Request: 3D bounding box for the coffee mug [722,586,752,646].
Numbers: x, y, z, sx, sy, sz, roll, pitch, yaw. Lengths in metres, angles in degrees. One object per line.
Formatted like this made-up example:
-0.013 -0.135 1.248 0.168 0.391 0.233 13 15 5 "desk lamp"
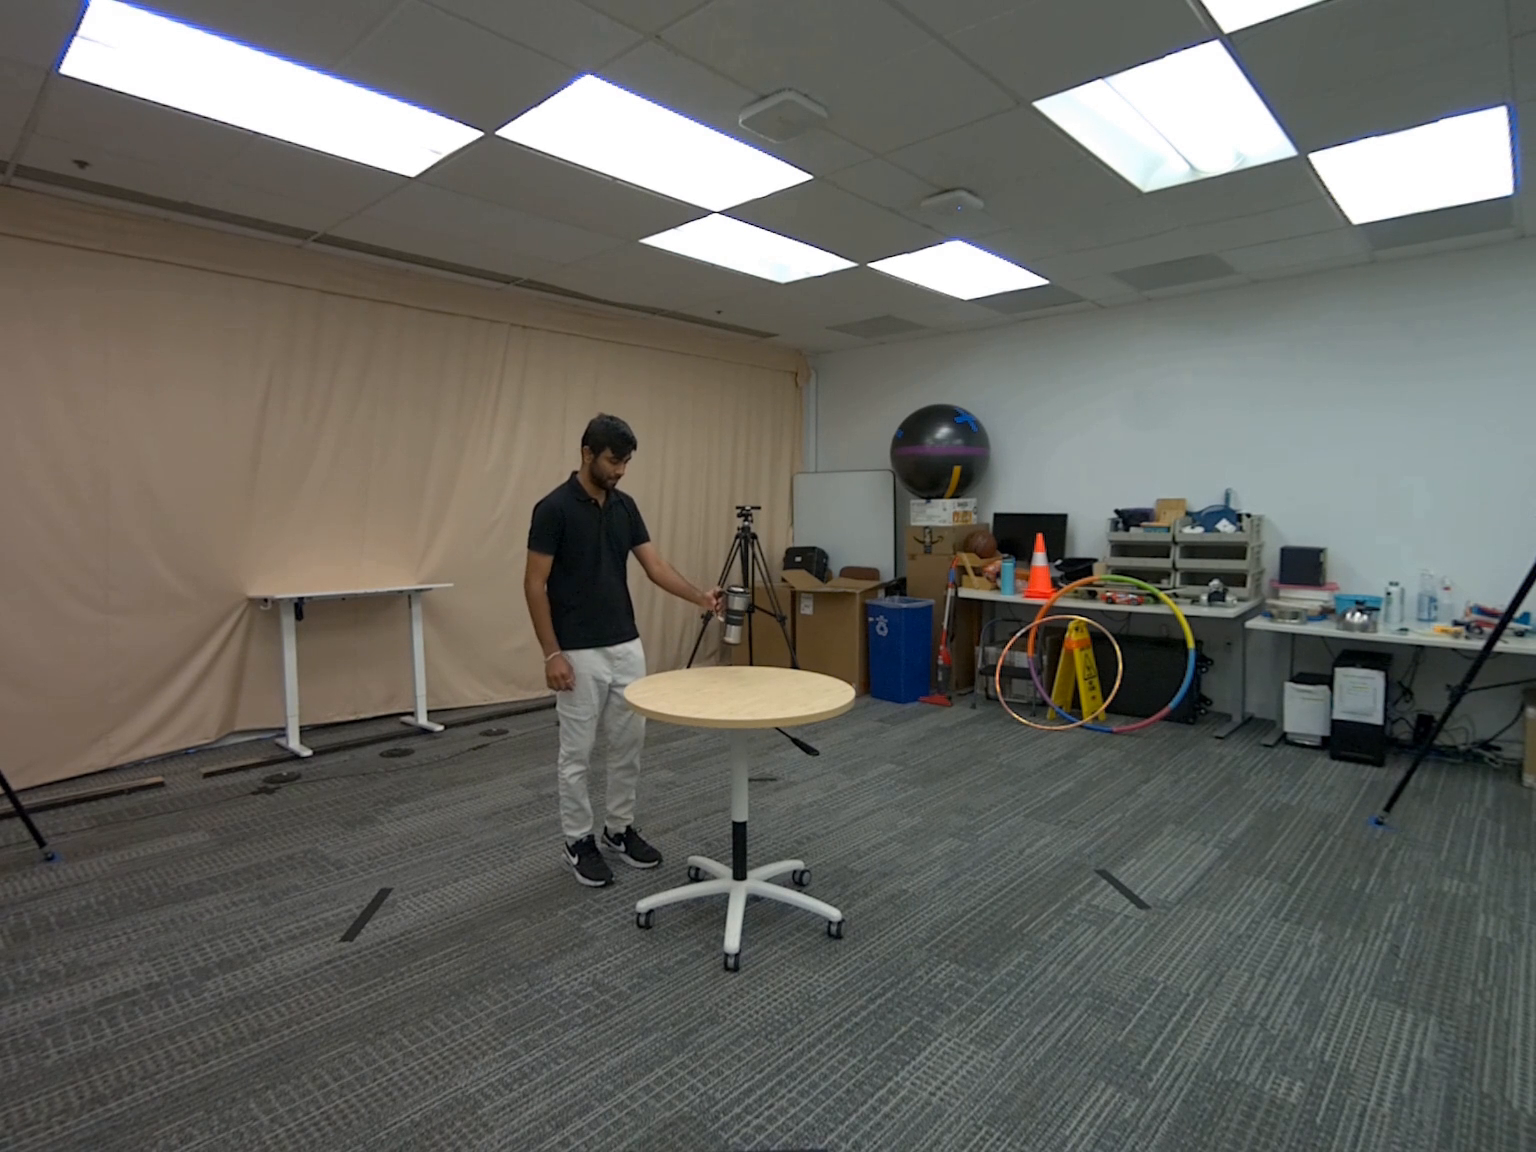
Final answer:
-0.133 0.143 3.010 0.126 0.202 0.085 16 16 39 "coffee mug"
